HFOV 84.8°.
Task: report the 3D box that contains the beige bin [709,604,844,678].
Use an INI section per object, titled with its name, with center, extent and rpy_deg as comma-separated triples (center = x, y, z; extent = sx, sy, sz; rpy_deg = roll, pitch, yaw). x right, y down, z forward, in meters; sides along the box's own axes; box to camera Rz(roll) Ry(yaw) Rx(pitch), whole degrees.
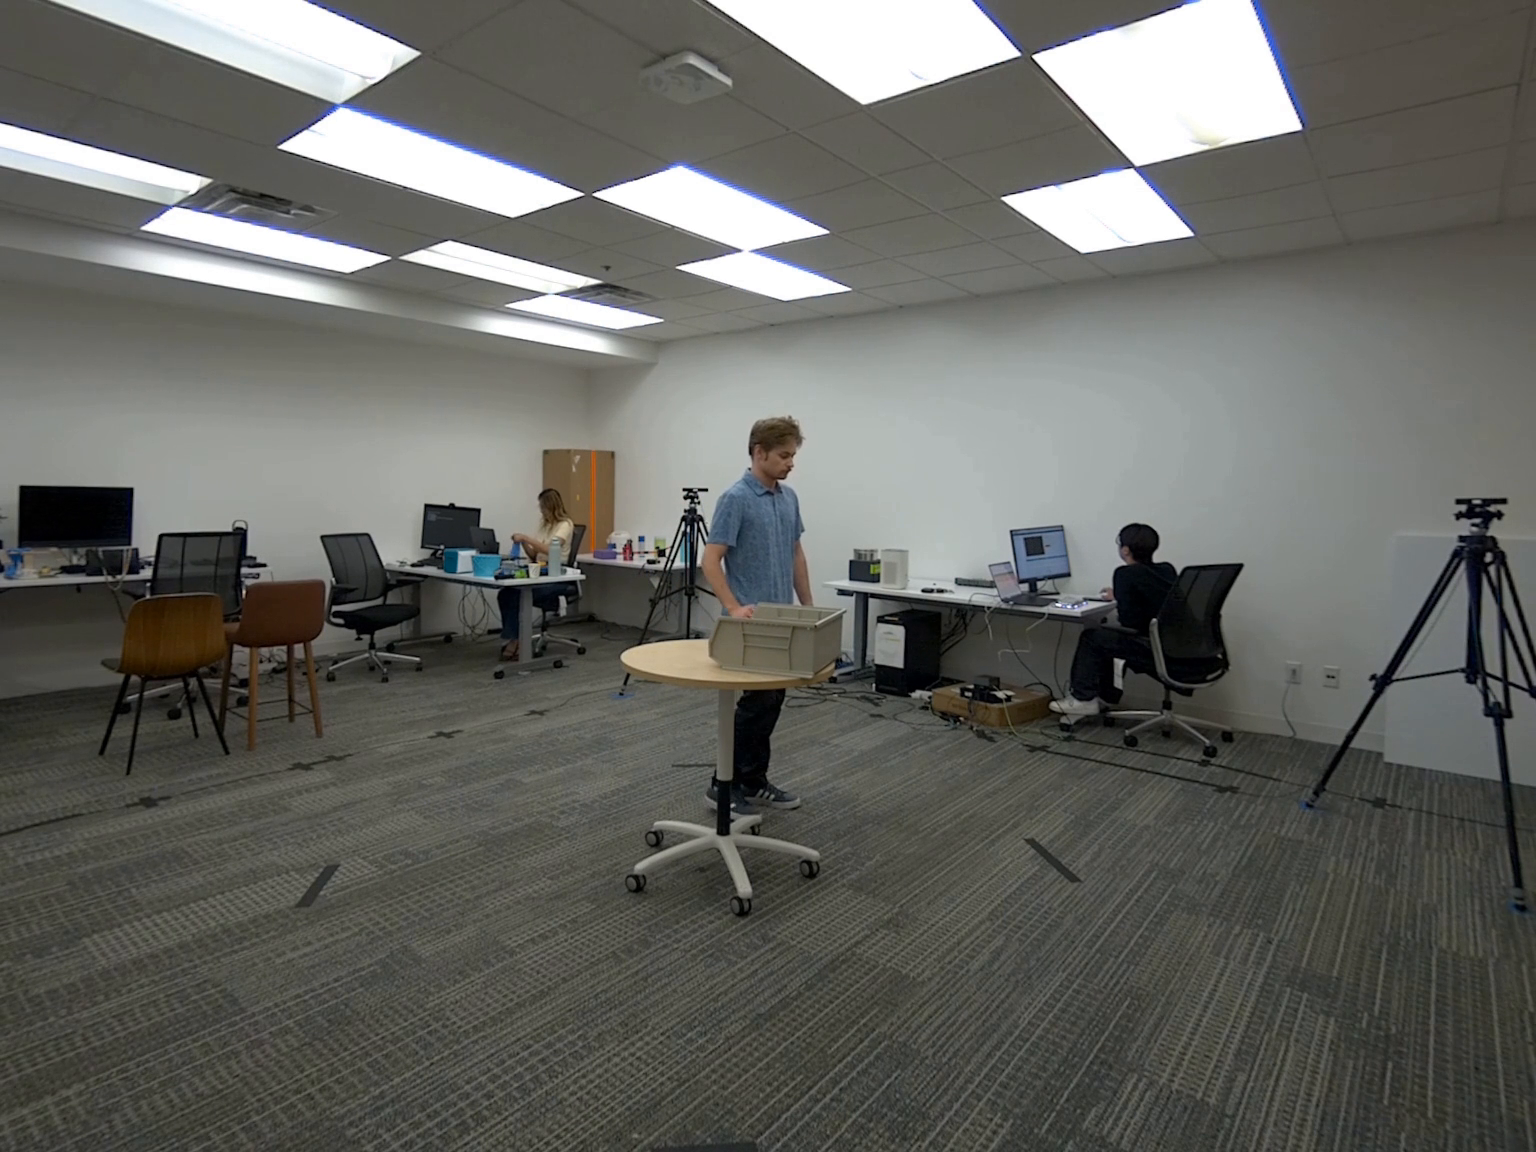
[beige bin]
center = 0.029, 0.213, 2.989
extent = 0.386, 0.188, 0.414
rpy_deg = 5, 5, 20
